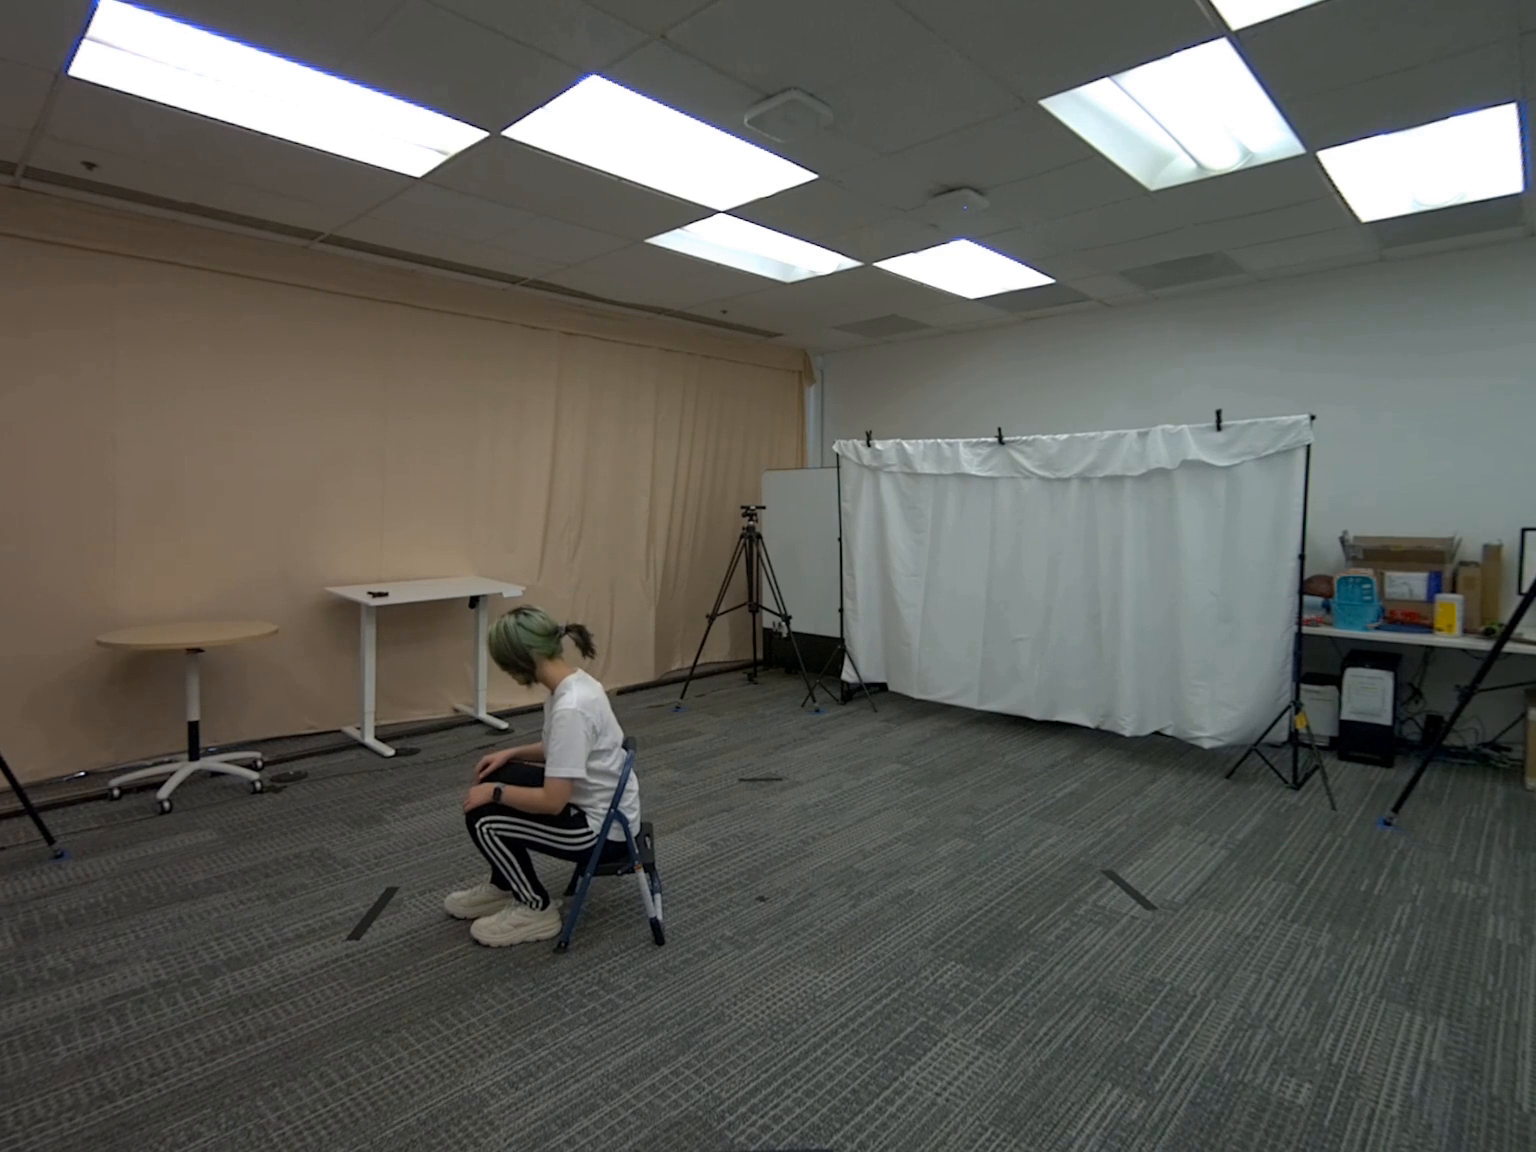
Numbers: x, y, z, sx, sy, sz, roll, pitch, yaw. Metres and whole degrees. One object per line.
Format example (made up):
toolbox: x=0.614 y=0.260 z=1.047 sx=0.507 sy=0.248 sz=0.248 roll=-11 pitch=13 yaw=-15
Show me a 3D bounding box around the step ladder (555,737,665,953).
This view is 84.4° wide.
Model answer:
step ladder: x=-0.529 y=0.865 z=2.832 sx=0.346 sy=0.605 sz=0.435 roll=-2 pitch=4 yaw=-9
